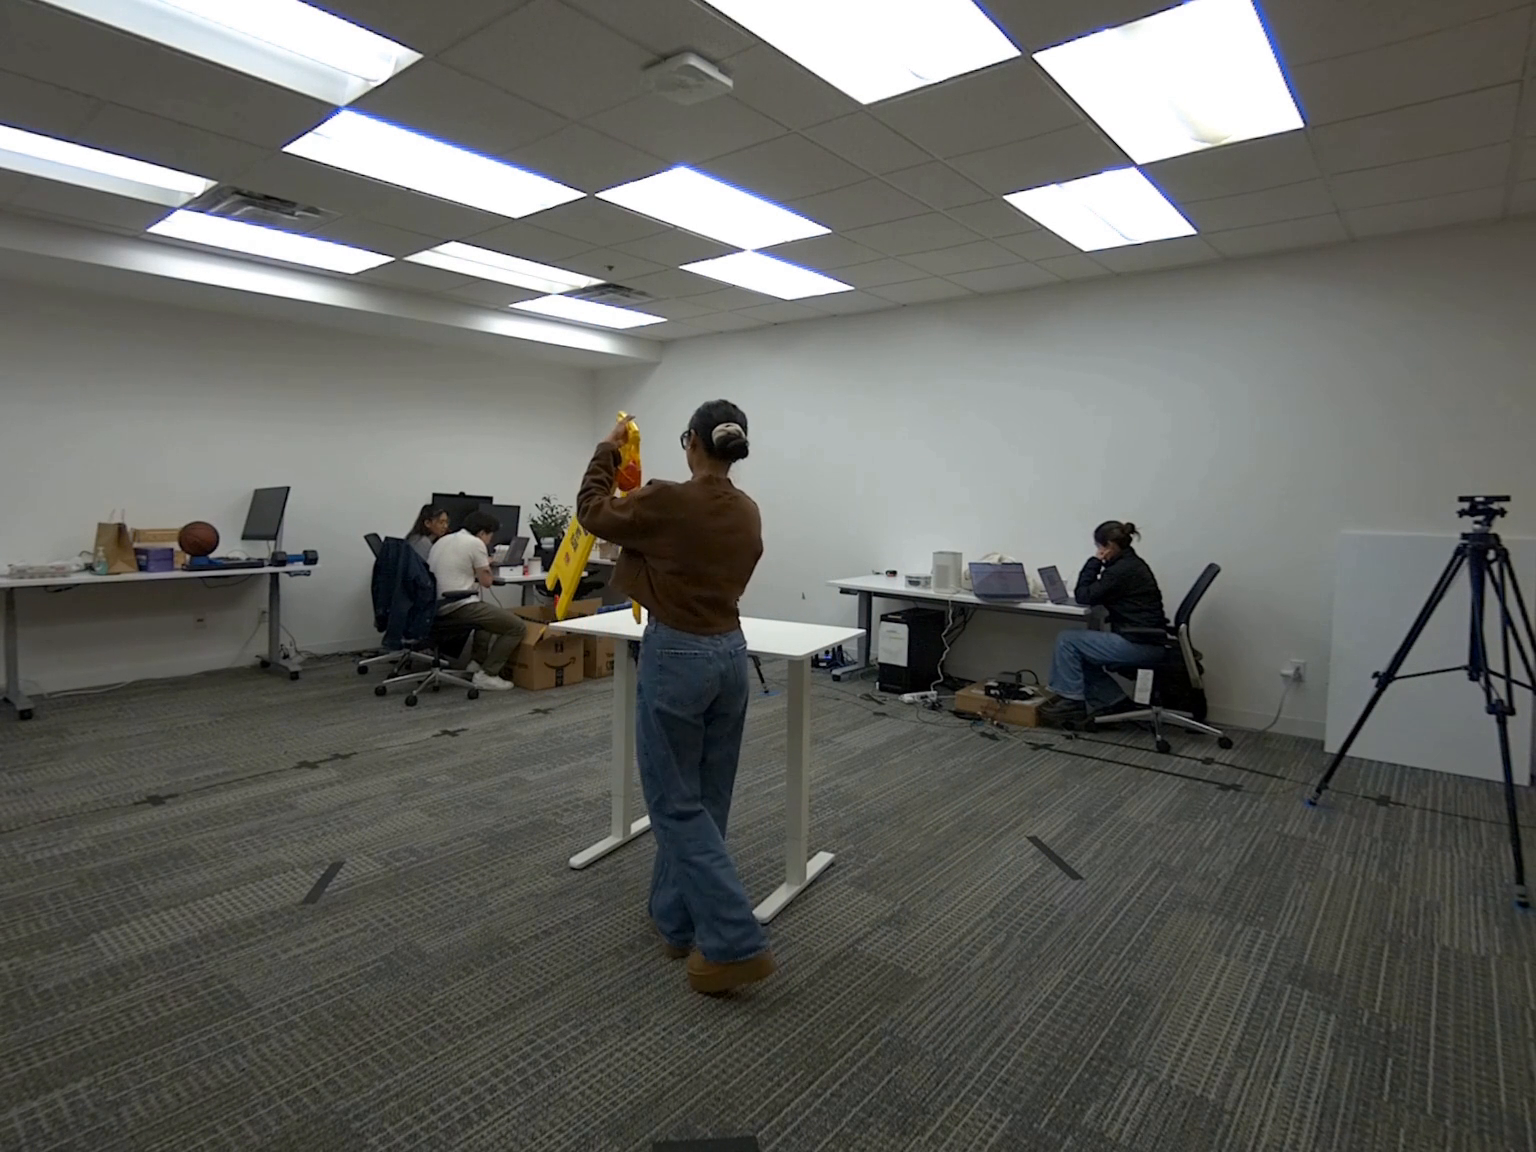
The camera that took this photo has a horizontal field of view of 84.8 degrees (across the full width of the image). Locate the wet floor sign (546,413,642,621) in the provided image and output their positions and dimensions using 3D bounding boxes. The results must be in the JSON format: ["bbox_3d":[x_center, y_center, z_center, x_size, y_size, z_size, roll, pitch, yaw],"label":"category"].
[{"bbox_3d":[-0.521,-0.187,2.735,0.282,0.638,0.293,5,22,-25],"label":"wet floor sign"}]
